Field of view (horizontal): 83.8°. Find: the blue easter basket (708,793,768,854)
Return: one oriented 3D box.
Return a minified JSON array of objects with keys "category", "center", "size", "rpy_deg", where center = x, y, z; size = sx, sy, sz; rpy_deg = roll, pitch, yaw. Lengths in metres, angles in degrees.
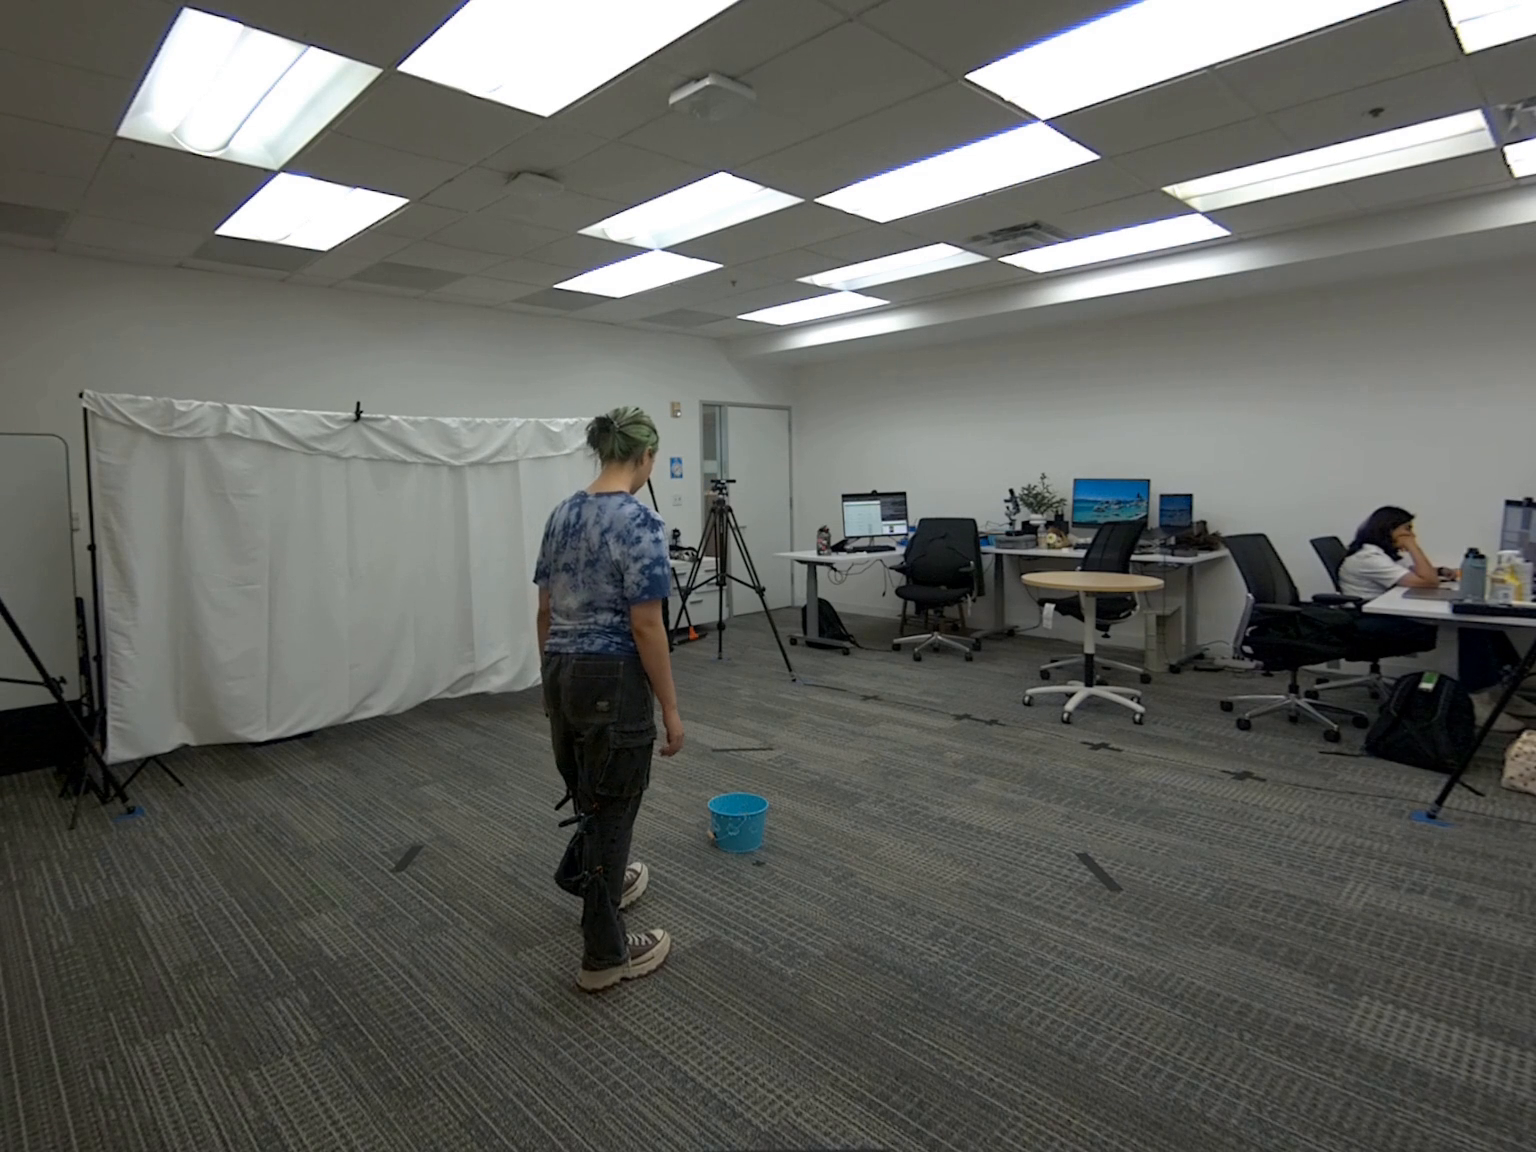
[{"category":"blue easter basket","center":[-0.116,0.950,3.294],"size":[0.243,0.155,0.245],"rpy_deg":[-1,5,-2]}]
